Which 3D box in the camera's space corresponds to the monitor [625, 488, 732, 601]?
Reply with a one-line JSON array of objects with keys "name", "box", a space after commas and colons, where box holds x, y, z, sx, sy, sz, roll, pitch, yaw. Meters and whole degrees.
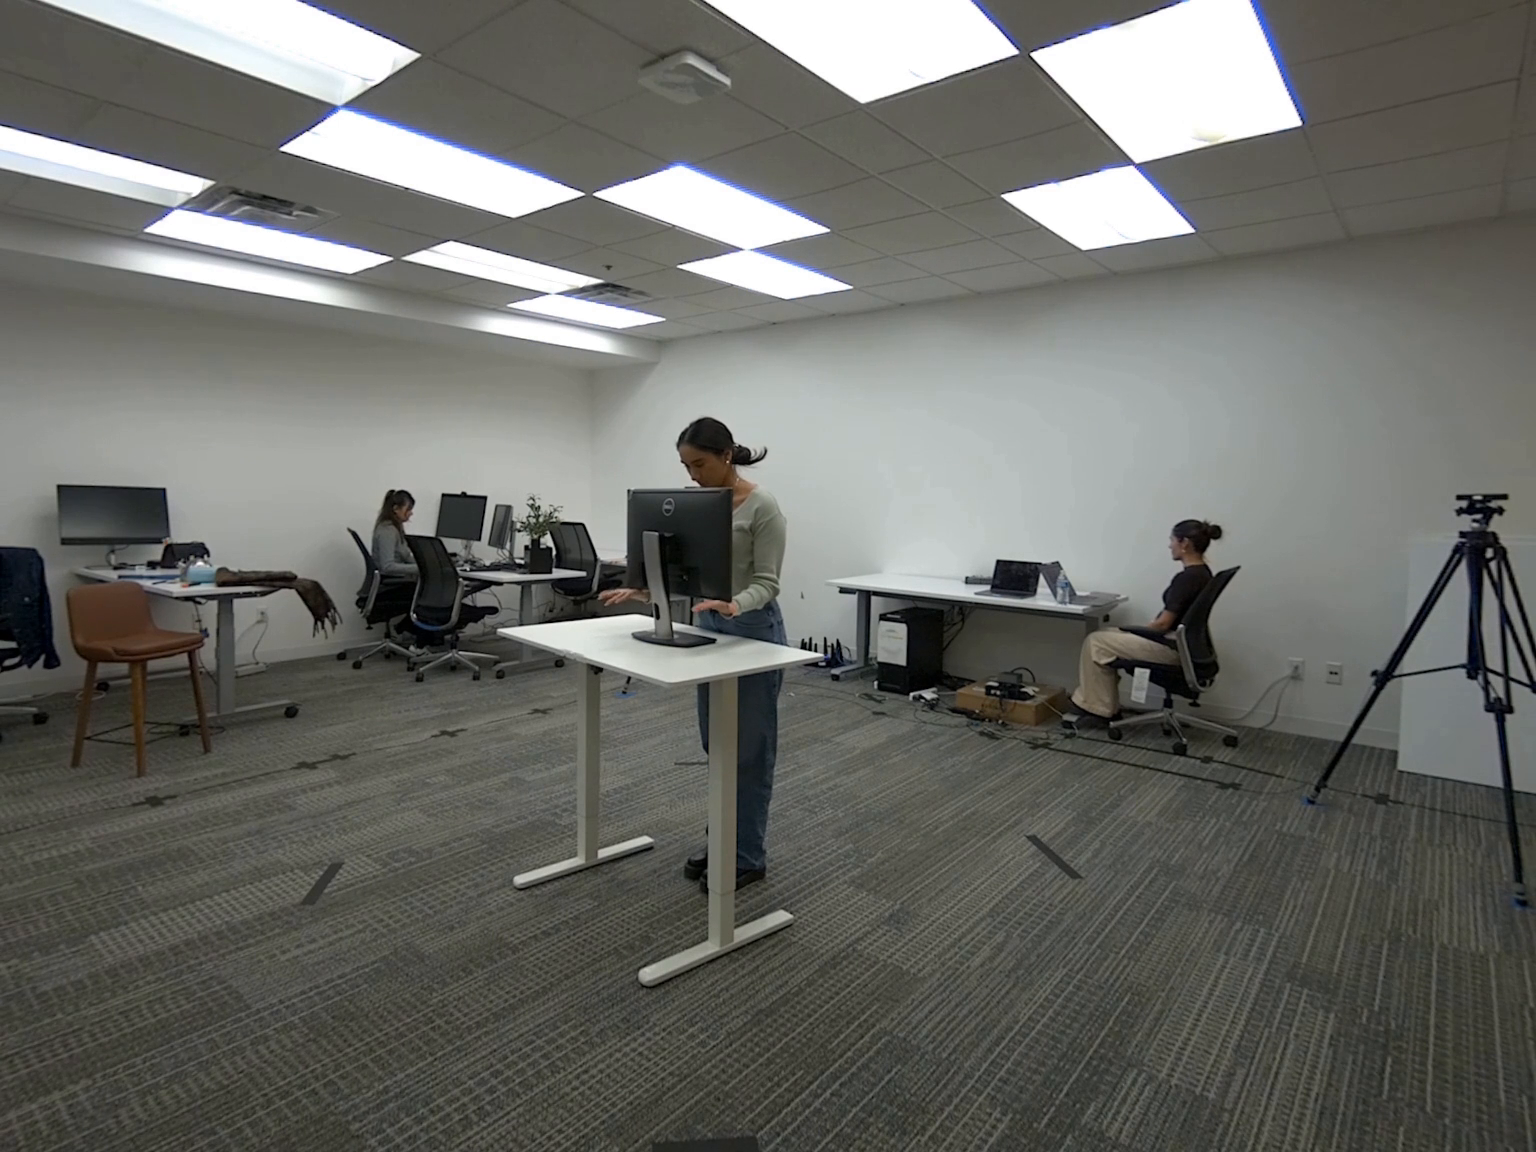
[{"name": "monitor", "box": [-0.320, -0.033, 2.809, 0.557, 0.523, 0.180, 4, -2, 44]}]
